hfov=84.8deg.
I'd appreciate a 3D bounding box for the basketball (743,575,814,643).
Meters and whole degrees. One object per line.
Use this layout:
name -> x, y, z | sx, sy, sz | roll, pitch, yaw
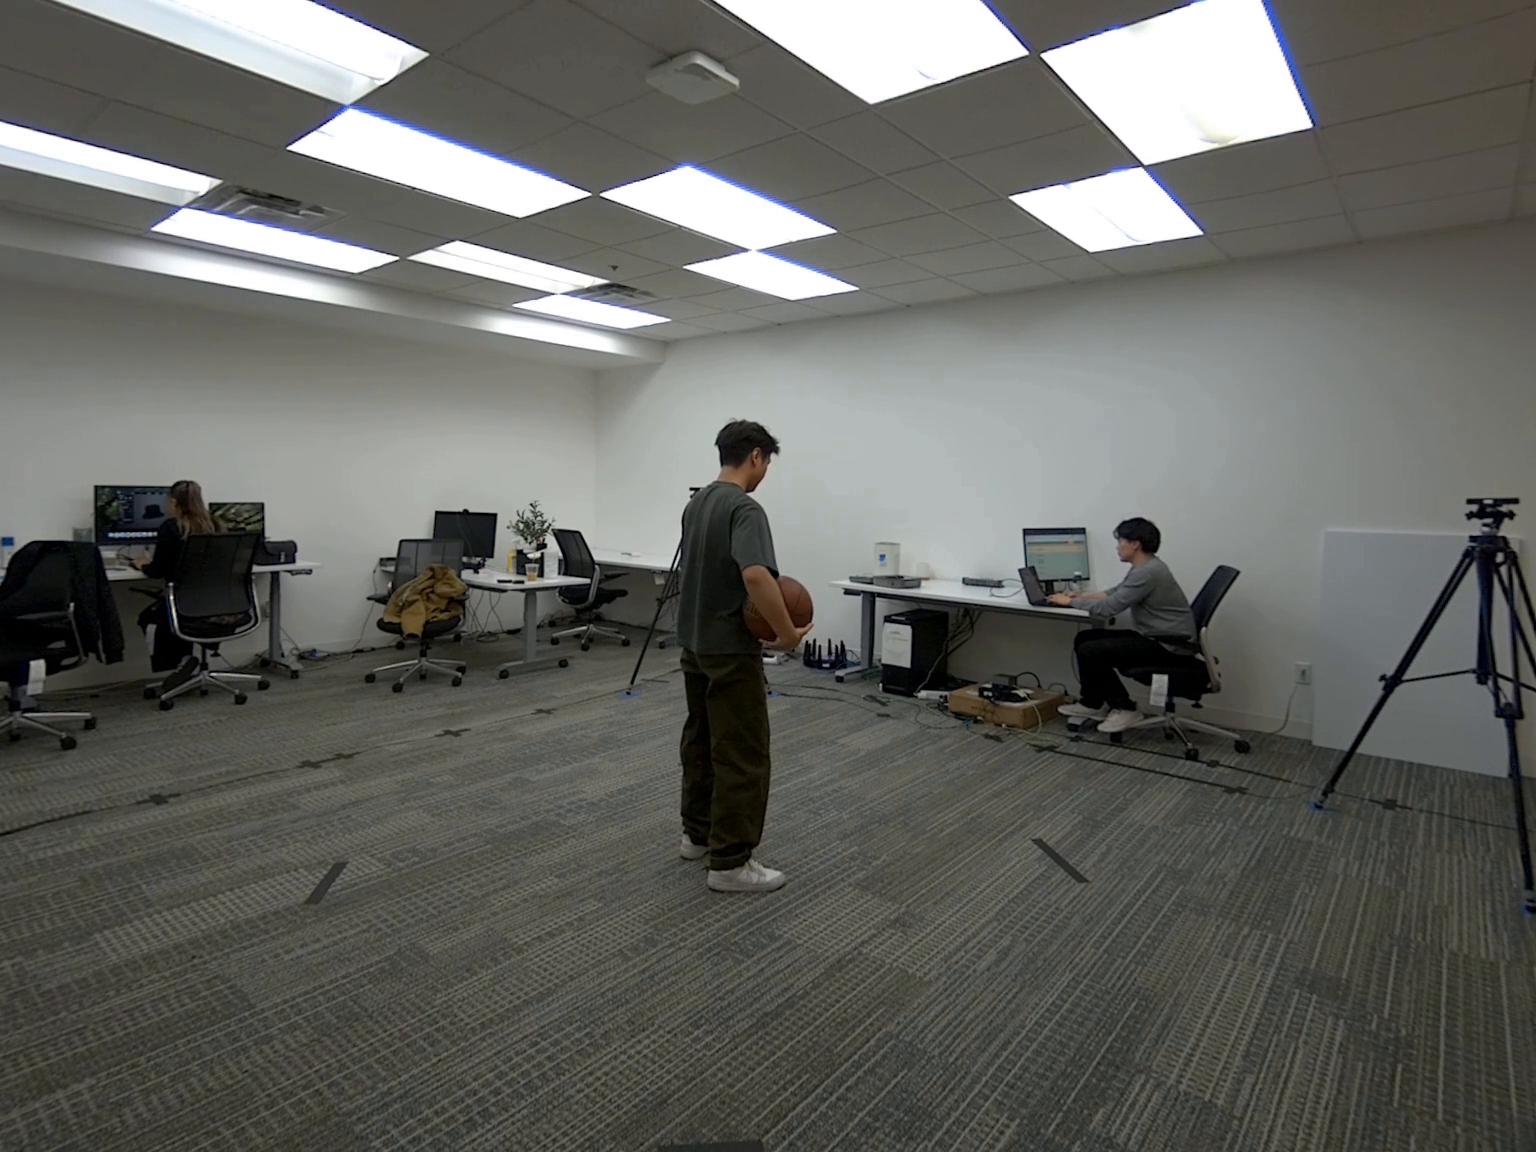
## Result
basketball -> 0.021, 0.110, 2.910 | 0.235, 0.235, 0.237 | 1, 4, -2
